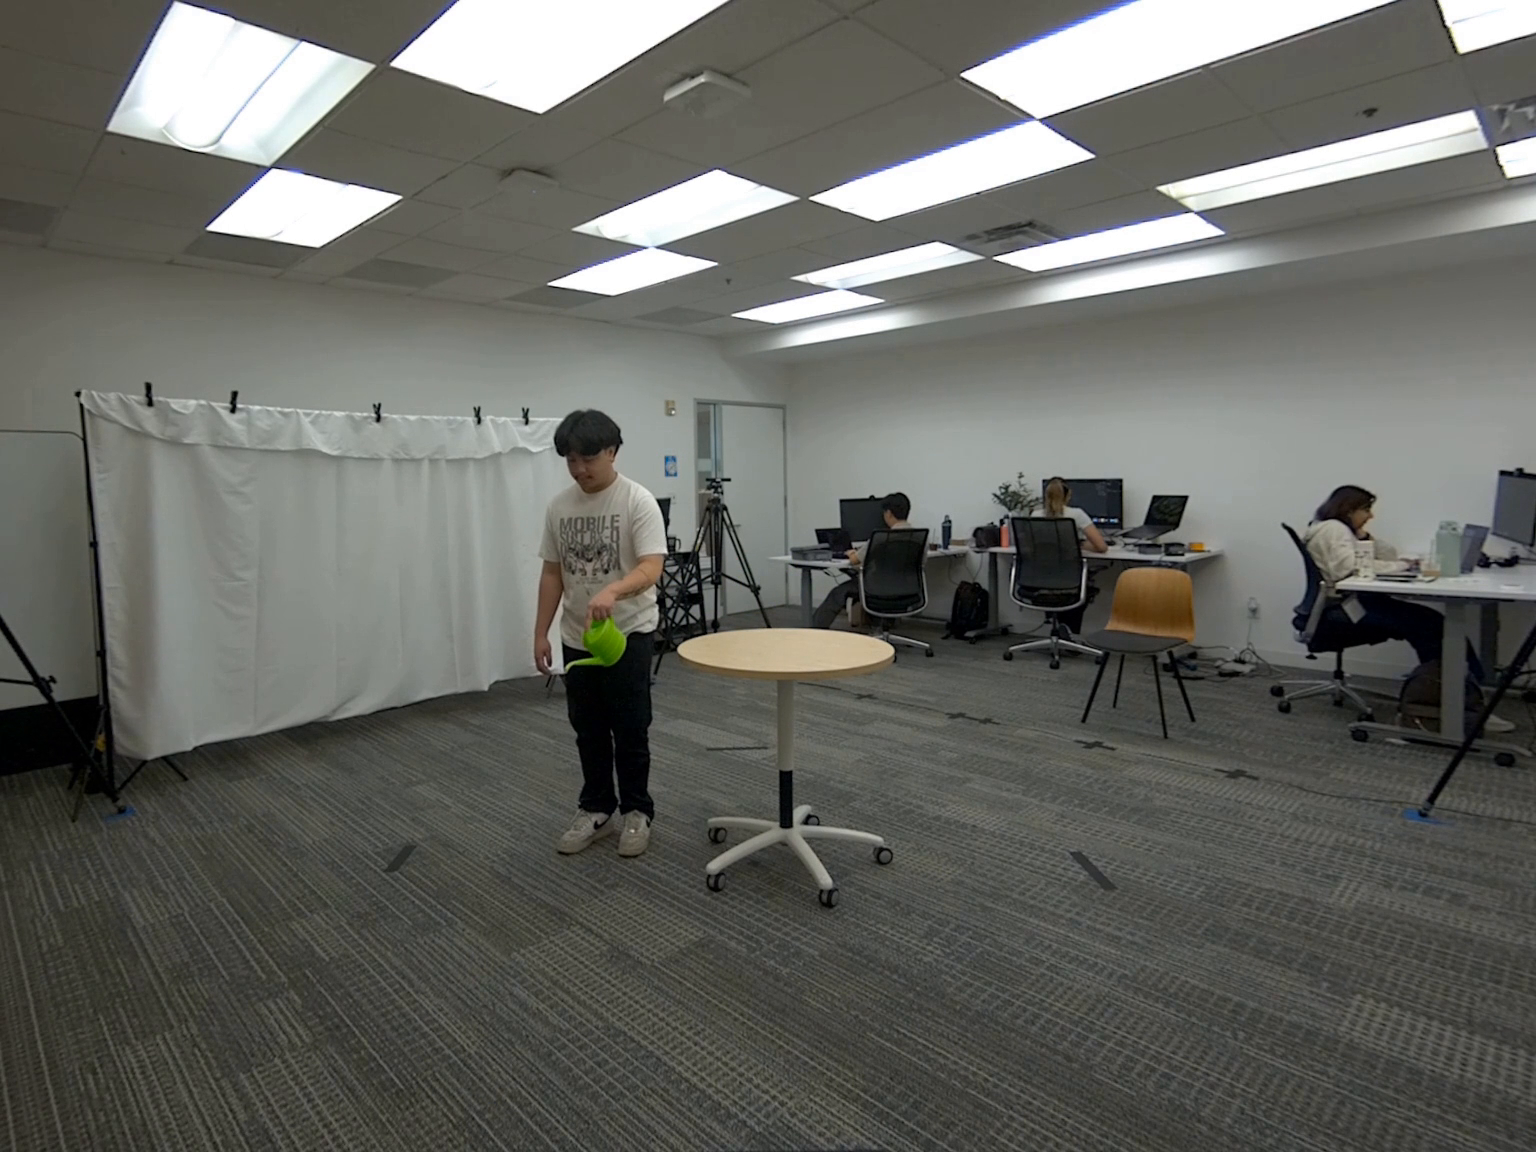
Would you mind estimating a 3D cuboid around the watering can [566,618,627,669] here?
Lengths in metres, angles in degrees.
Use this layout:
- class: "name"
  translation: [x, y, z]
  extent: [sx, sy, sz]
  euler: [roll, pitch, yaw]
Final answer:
- class: "watering can"
  translation: [-0.579, 0.241, 2.856]
  extent: [0.101, 0.280, 0.170]
  euler: [9, -35, 34]
